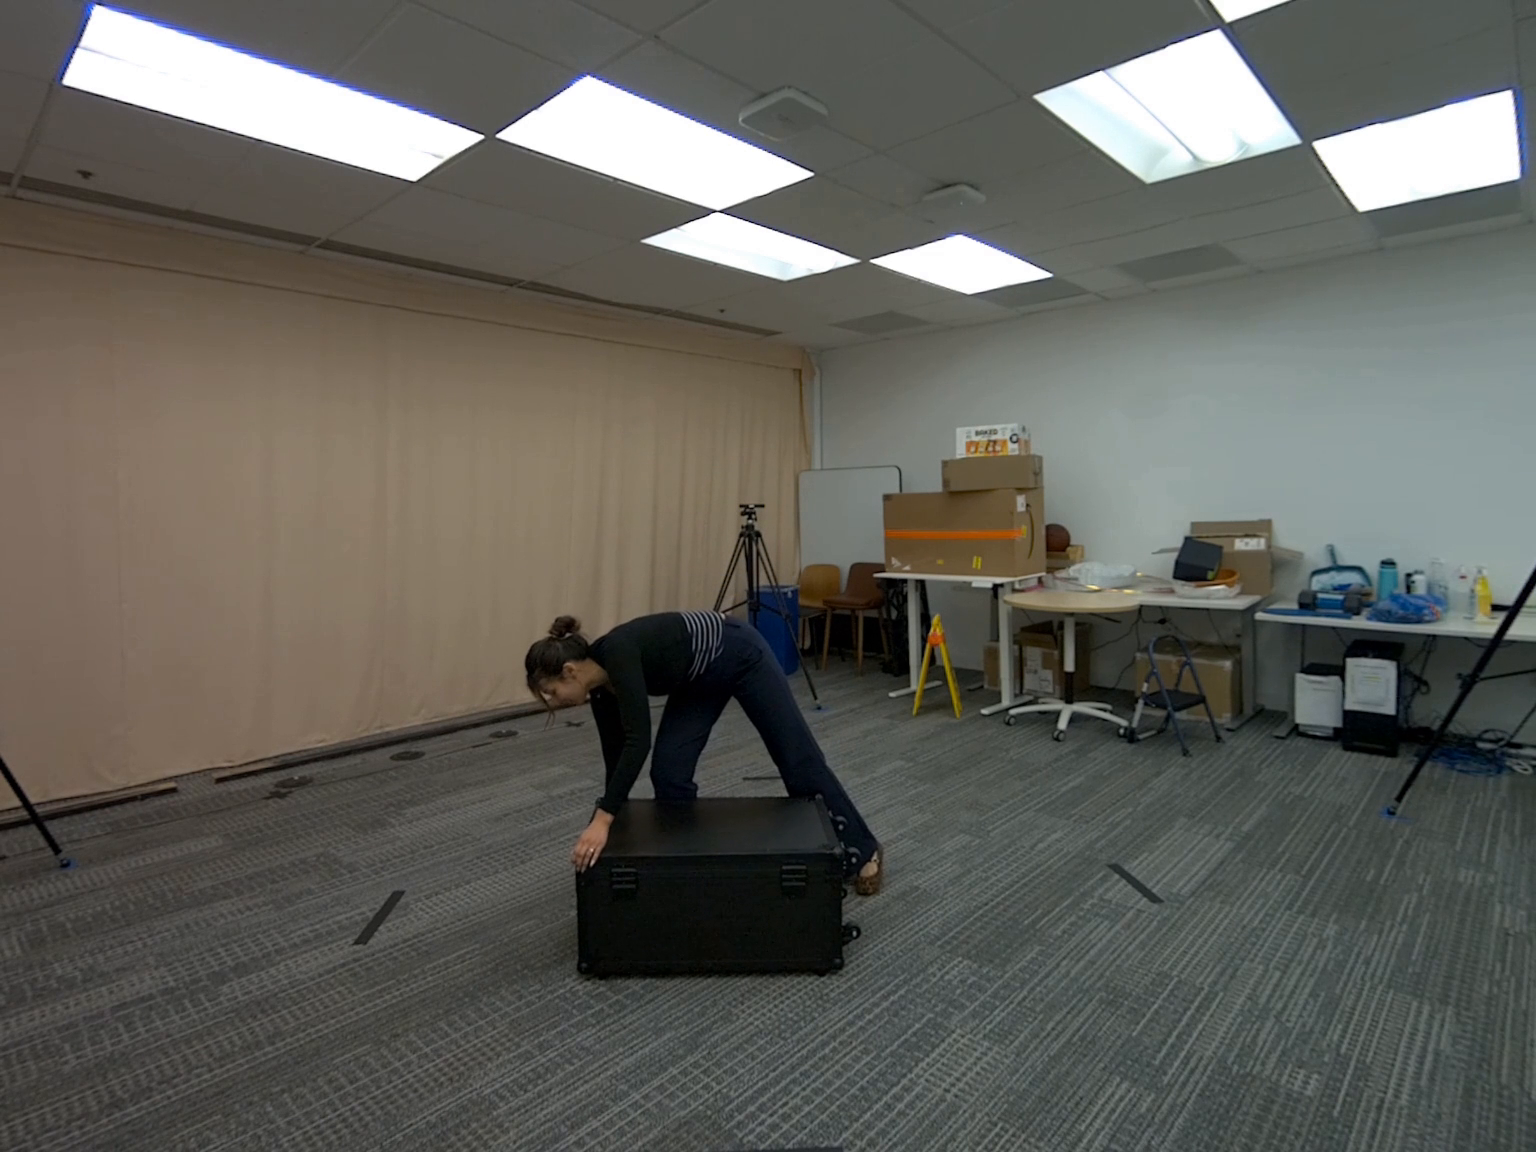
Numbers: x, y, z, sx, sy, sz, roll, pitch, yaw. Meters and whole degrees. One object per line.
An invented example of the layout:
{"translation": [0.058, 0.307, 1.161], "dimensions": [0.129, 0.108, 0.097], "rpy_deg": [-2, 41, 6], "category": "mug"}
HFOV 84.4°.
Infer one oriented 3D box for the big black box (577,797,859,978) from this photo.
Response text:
{"translation": [-0.146, 0.977, 2.694], "dimensions": [0.861, 0.395, 0.523], "rpy_deg": [-1, 4, -1], "category": "big black box"}
